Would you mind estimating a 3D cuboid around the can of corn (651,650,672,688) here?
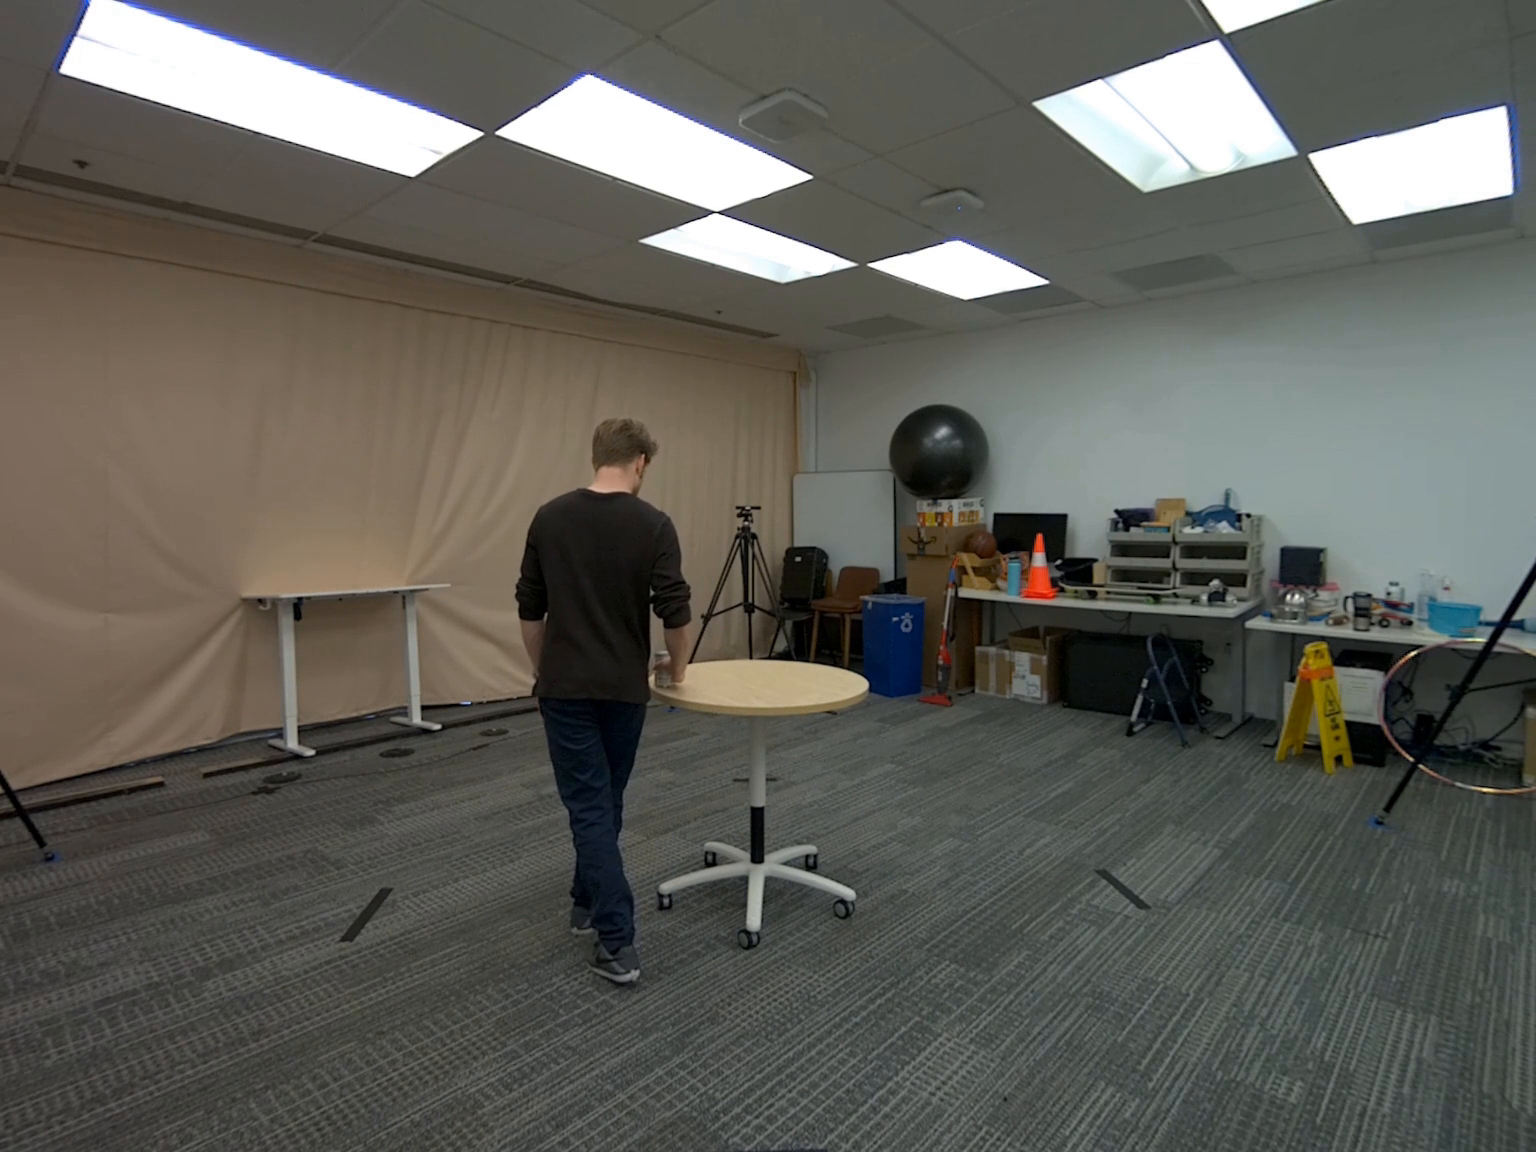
[{"bbox_3d":[-0.343,0.321,2.833,0.074,0.110,0.074,0,5,-2],"label":"can of corn"}]
